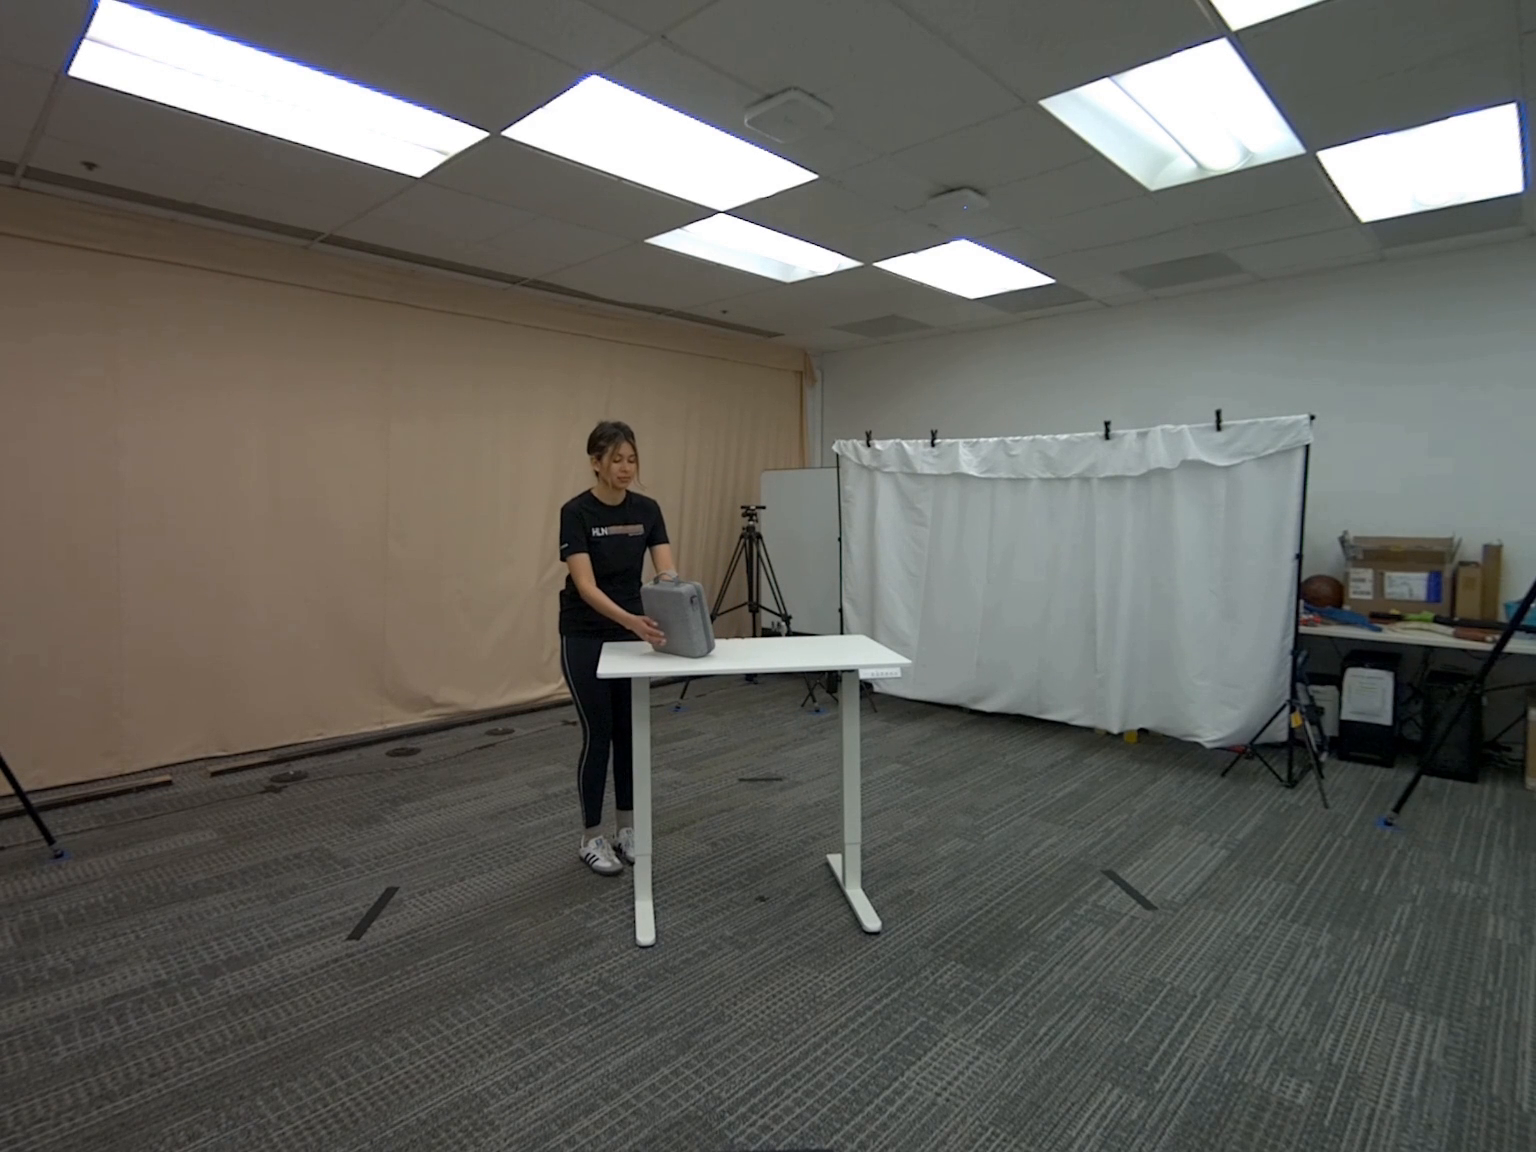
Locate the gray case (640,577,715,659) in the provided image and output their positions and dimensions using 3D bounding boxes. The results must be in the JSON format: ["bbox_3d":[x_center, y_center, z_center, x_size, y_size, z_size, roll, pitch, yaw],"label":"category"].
[{"bbox_3d":[-0.311,0.143,2.894,0.265,0.258,0.102,2,15,45],"label":"gray case"}]
